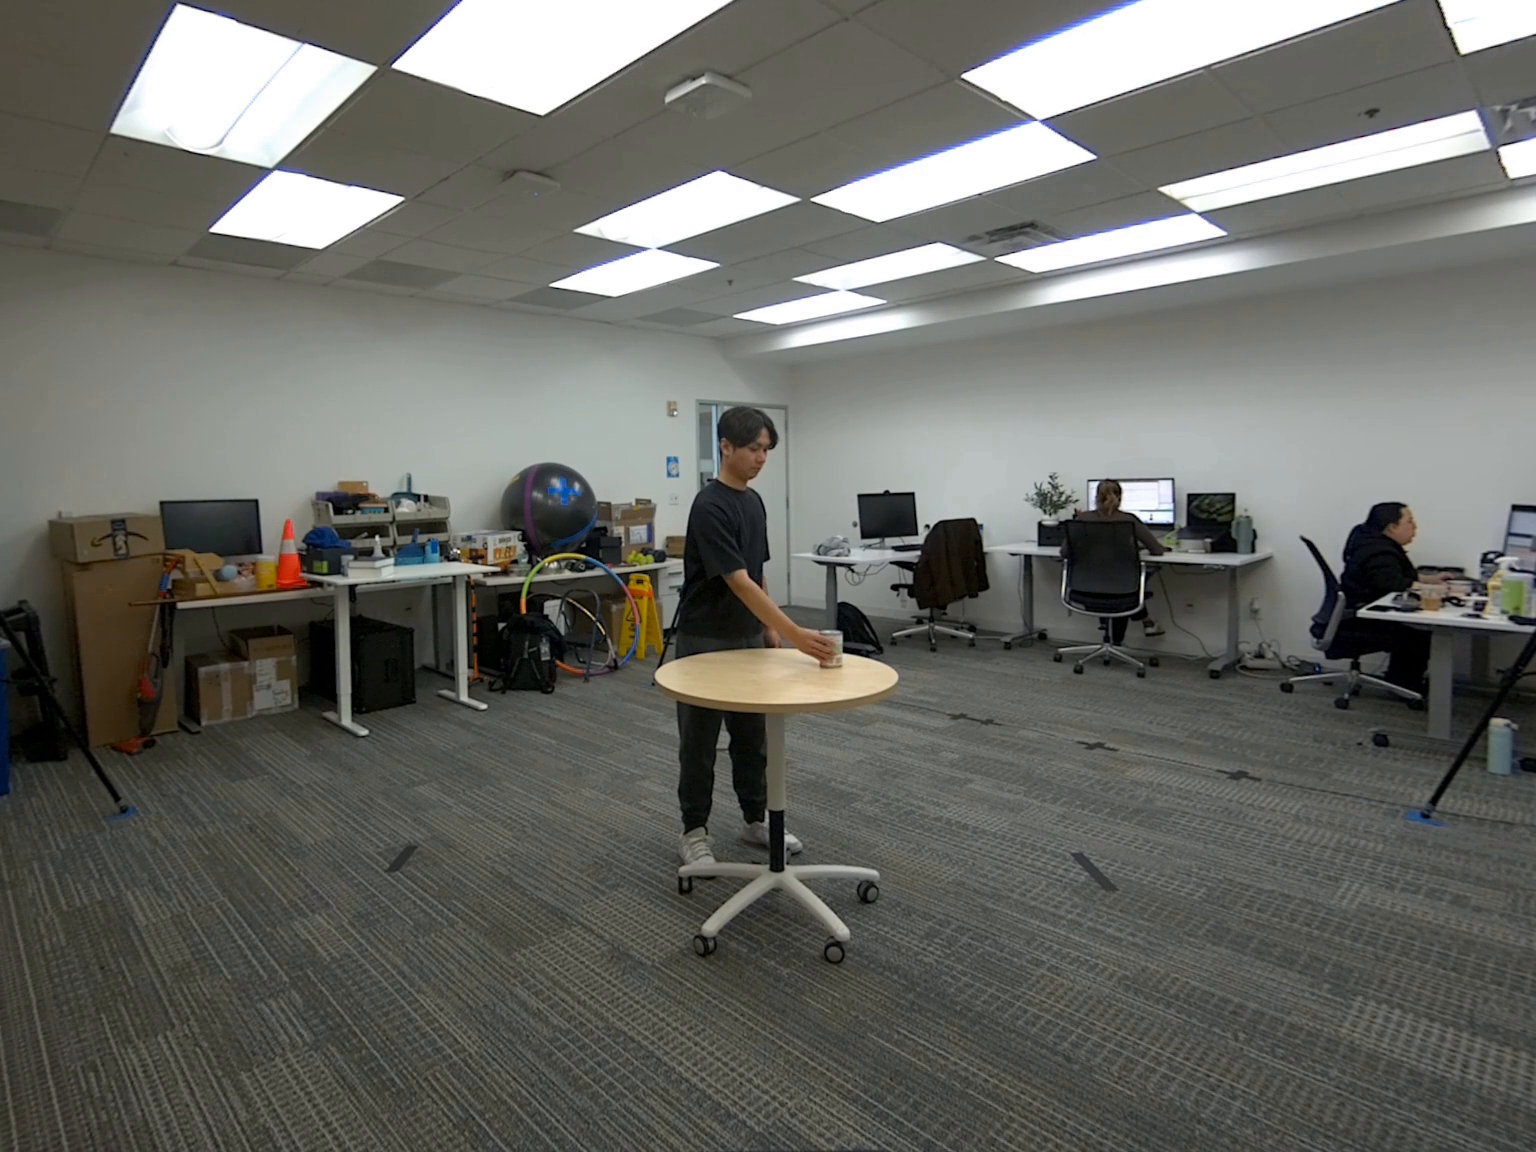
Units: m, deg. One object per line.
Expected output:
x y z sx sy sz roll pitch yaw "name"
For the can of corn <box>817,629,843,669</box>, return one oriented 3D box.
0.210 0.239 2.789 0.074 0.110 0.074 -1 5 -2 "can of corn"
